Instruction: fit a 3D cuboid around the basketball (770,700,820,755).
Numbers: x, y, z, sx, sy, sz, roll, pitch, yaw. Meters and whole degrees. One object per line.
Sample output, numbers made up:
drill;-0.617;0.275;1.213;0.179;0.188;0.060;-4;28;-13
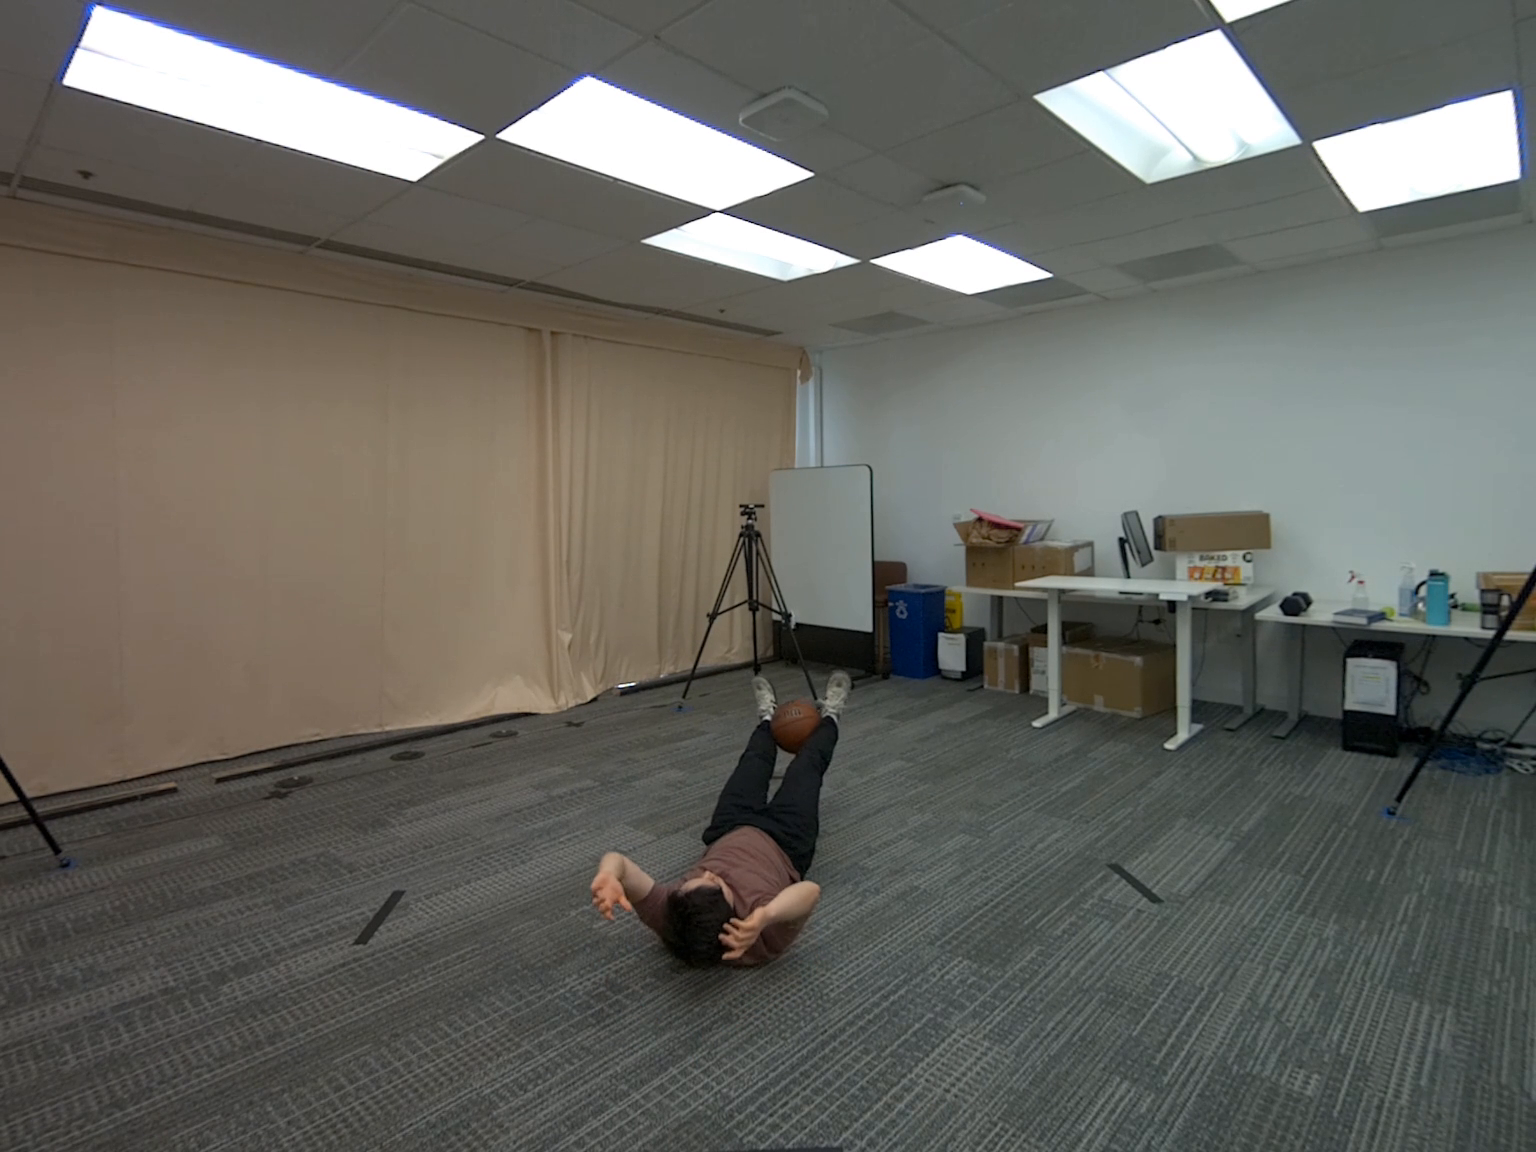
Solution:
basketball;0.130;0.668;3.724;0.235;0.235;0.237;3;5;-2
